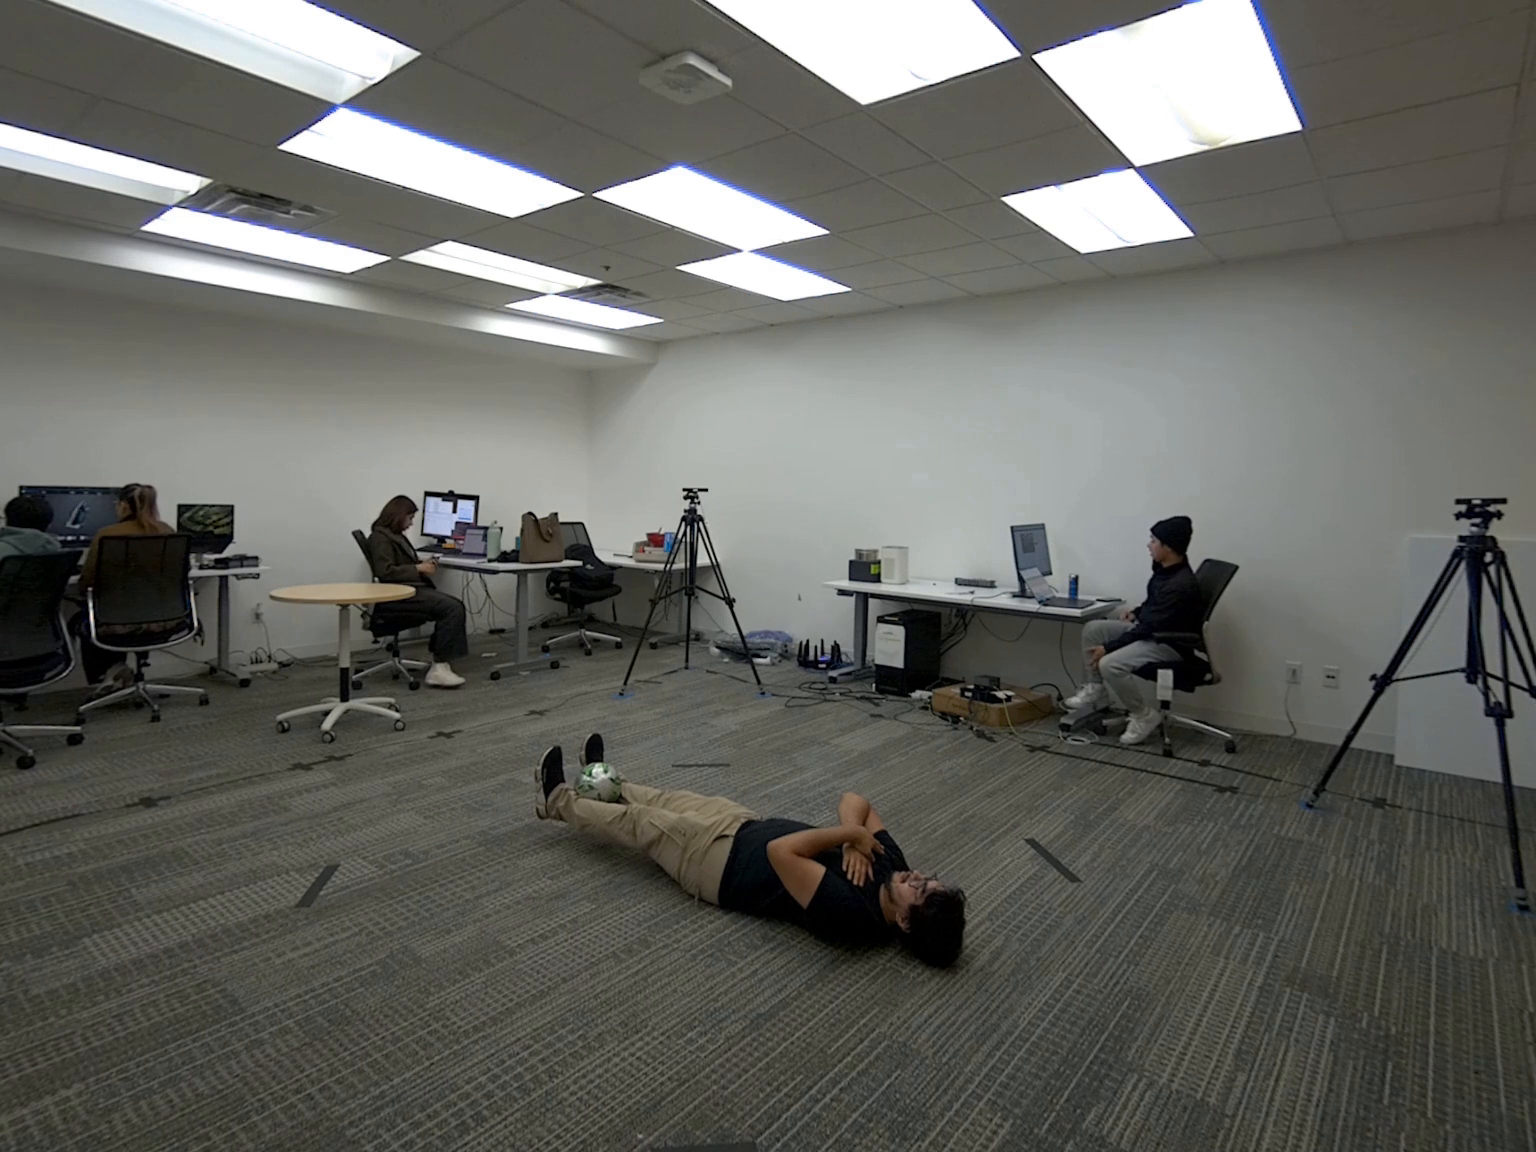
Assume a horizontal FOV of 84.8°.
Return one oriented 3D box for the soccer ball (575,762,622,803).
[{"bbox_3d":[-0.694,0.837,3.385,0.187,0.187,0.188,0,4,-2],"label":"soccer ball"}]
